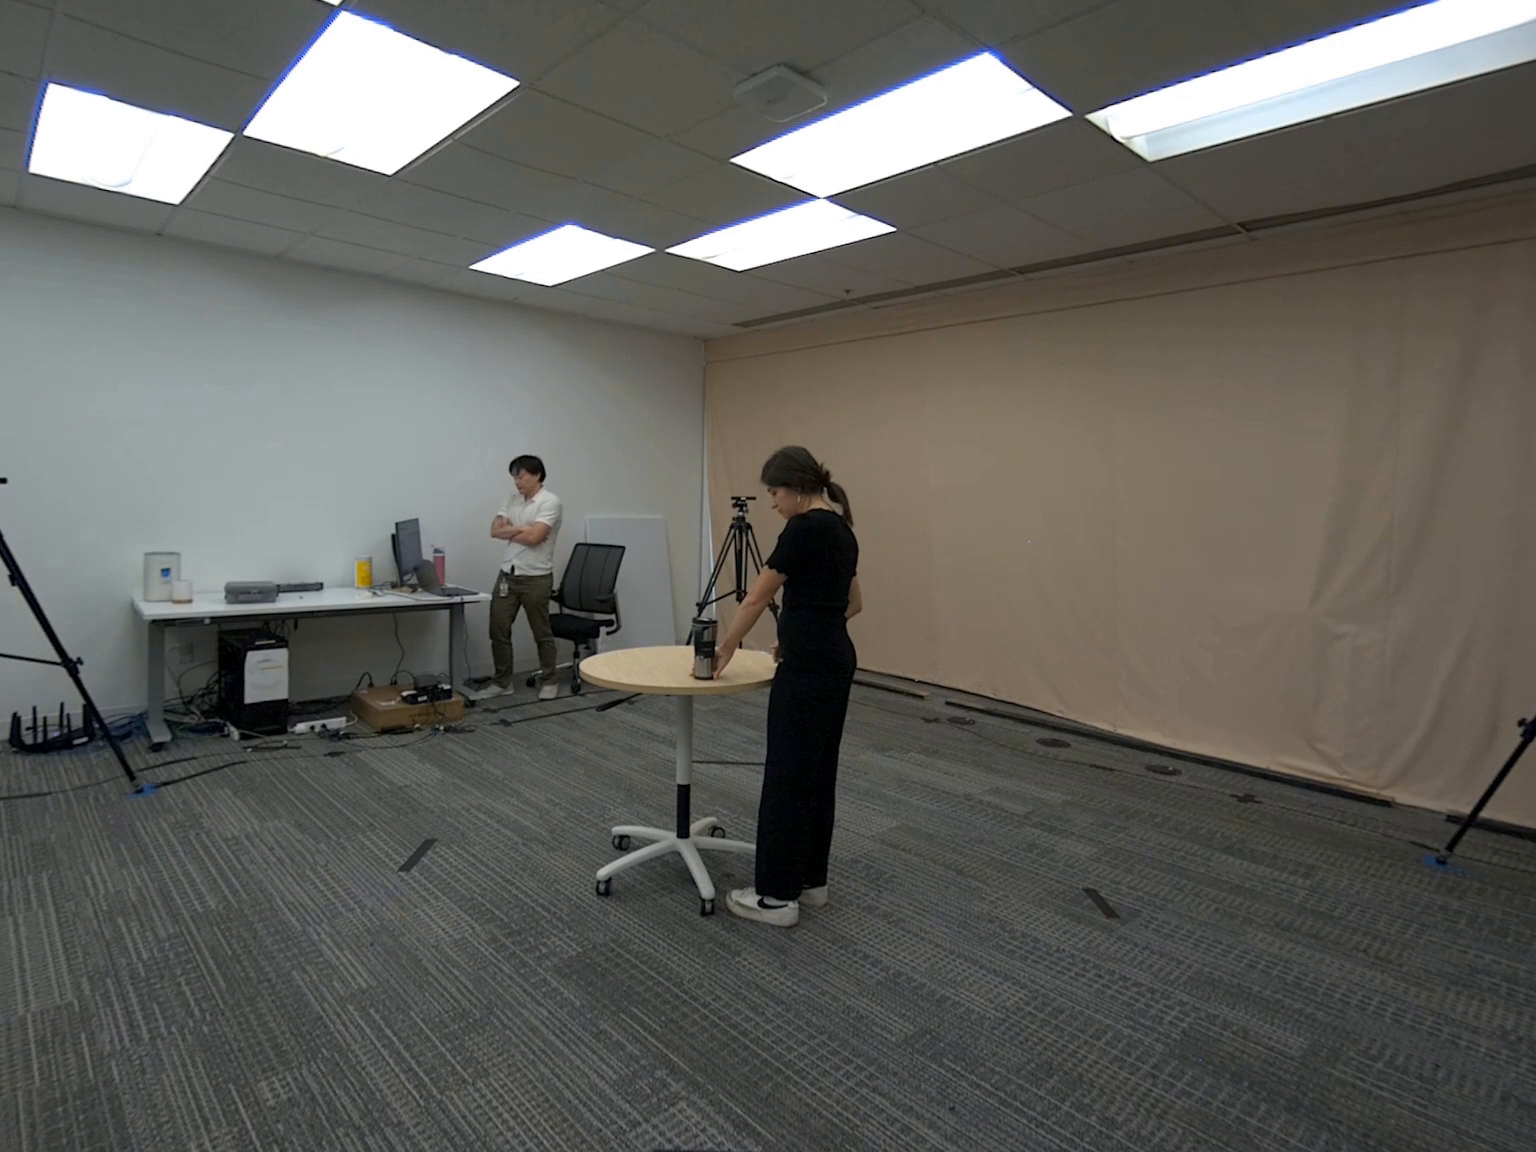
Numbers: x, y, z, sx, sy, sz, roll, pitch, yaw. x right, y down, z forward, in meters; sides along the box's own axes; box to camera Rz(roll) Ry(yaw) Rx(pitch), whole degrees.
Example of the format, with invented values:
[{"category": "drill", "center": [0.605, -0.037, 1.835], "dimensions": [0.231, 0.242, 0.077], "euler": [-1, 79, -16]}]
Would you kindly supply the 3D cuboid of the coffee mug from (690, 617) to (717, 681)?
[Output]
[{"category": "coffee mug", "center": [-0.229, 0.247, 2.789], "dimensions": [0.090, 0.203, 0.119], "euler": [10, 2, 44]}]
